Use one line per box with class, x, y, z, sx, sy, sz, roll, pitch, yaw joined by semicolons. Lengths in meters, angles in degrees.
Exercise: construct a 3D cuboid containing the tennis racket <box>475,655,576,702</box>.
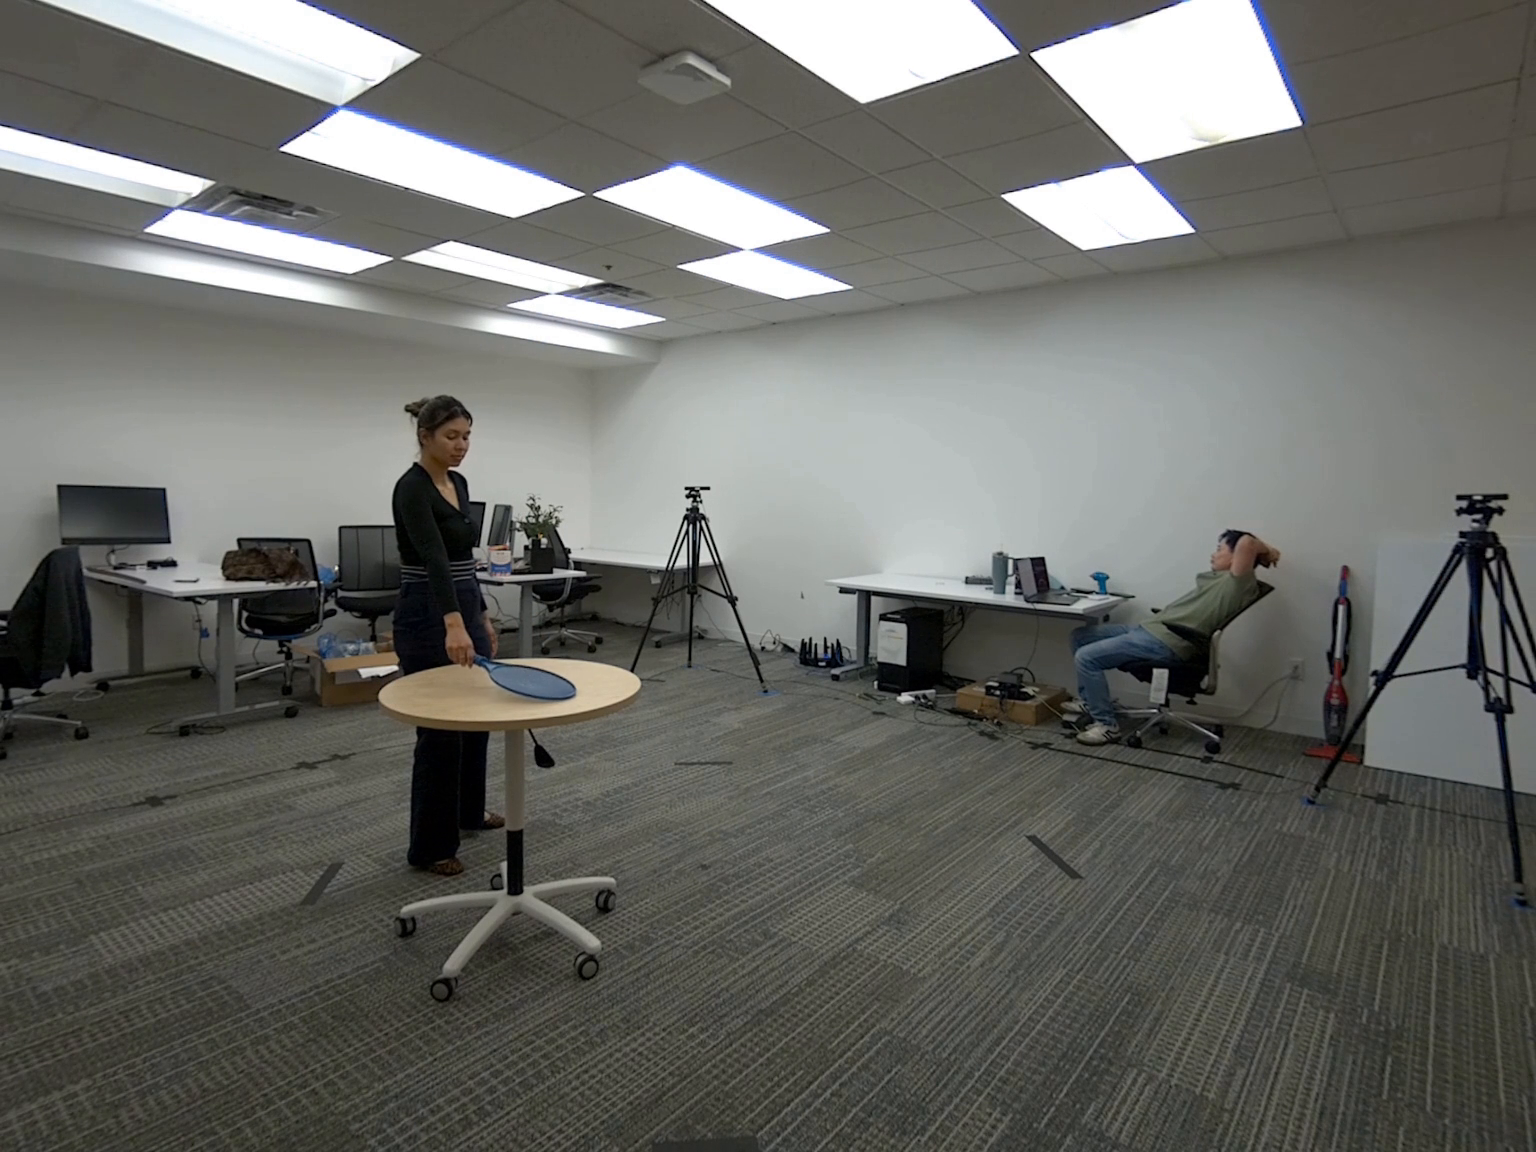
tennis racket;-0.773;0.286;2.494;0.444;0.031;0.210;15;11;21
